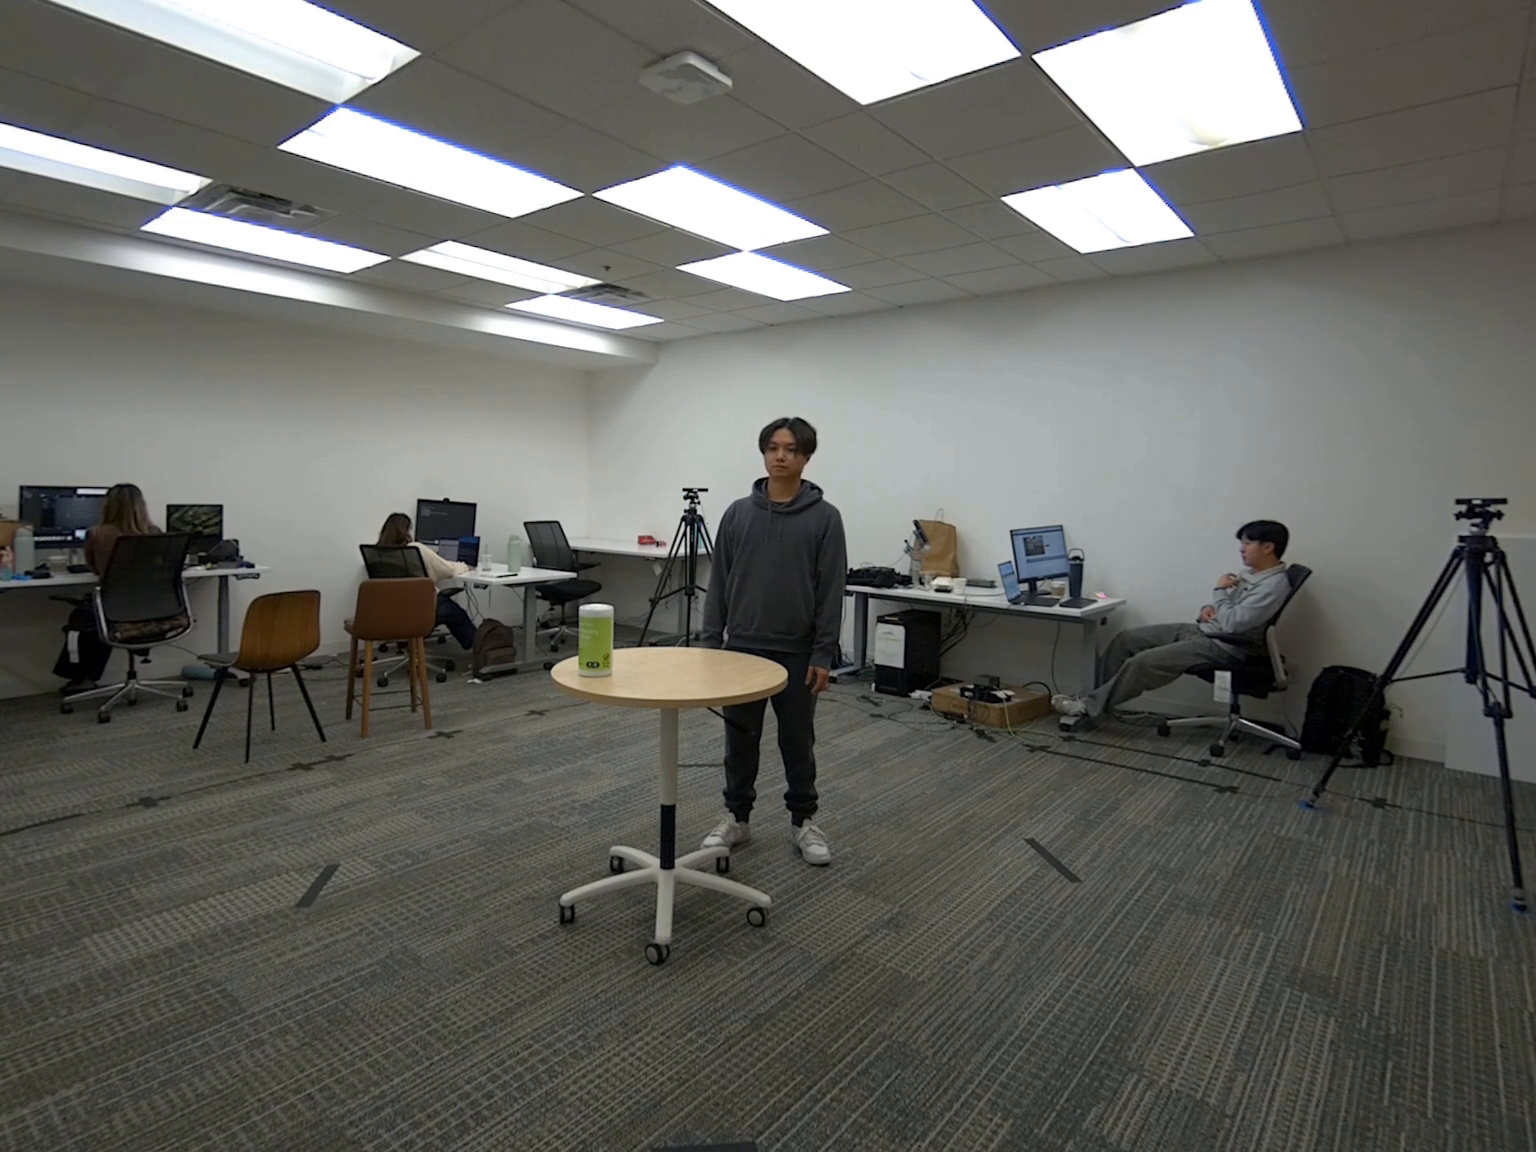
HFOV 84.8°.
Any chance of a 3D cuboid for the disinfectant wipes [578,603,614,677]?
[{"bbox_3d":[-0.555,0.202,2.687,0.117,0.216,0.118,2,5,-2],"label":"disinfectant wipes"}]
